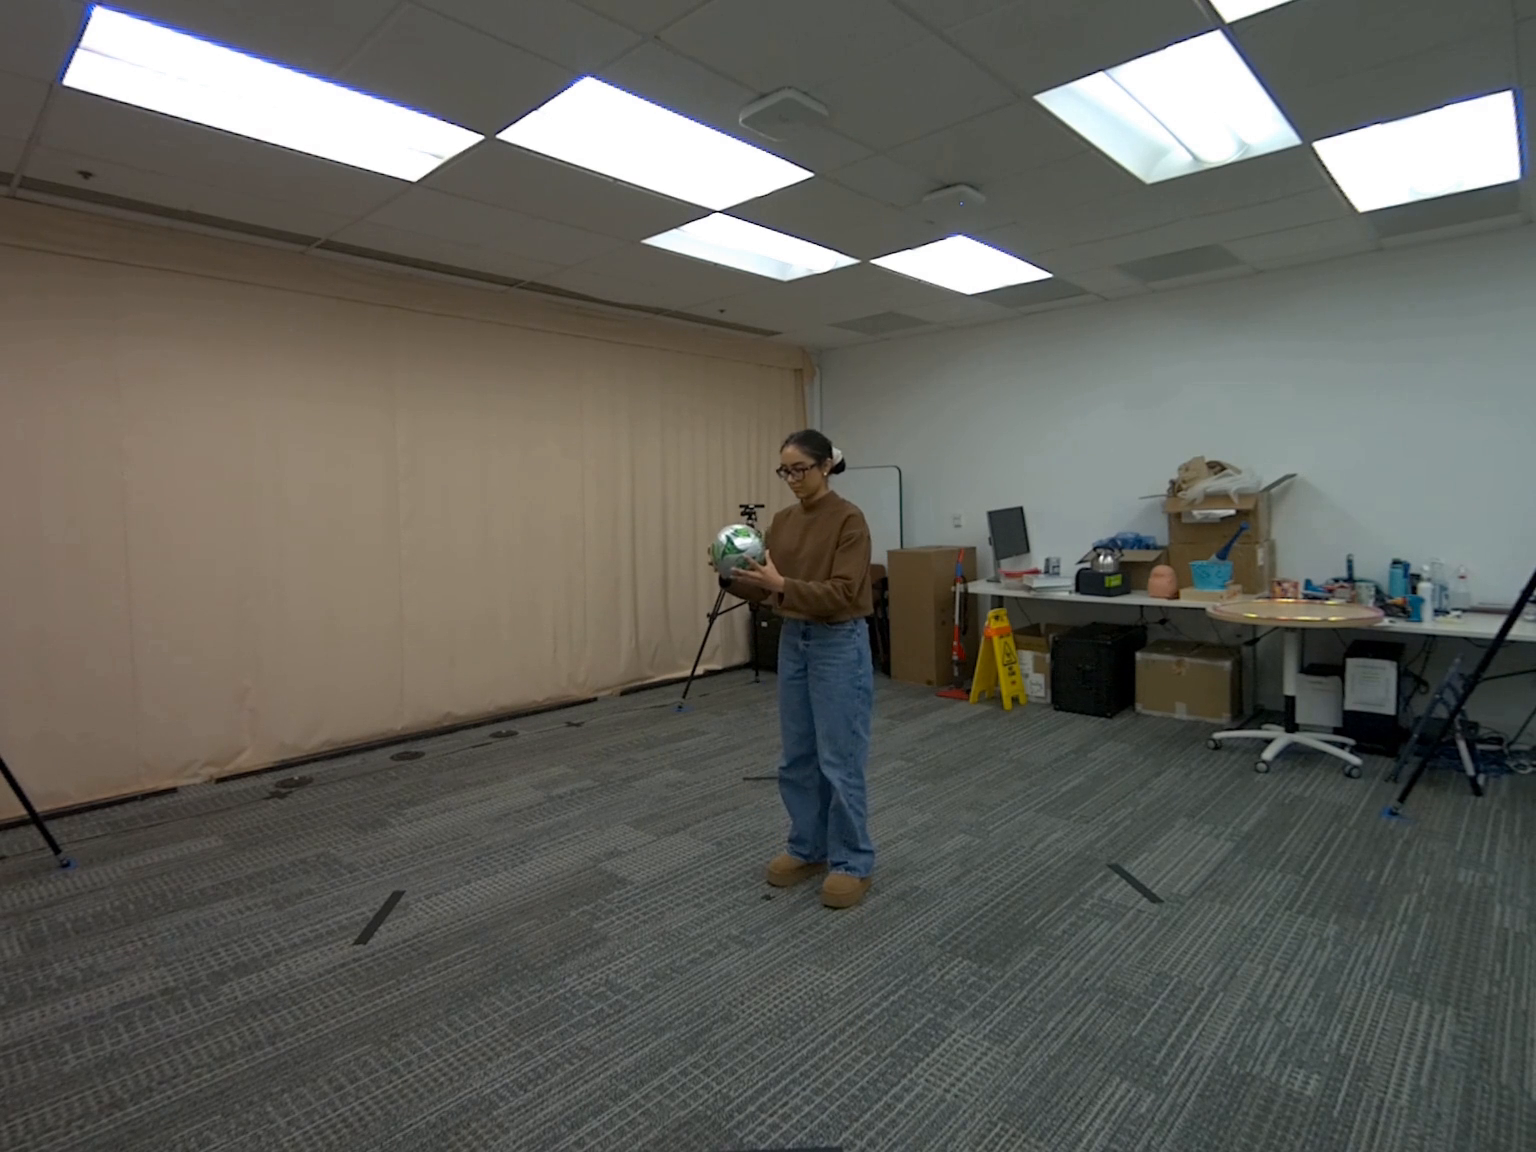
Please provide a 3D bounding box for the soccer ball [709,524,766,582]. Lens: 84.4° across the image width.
[{"bbox_3d":[-0.090,-0.080,2.815,0.187,0.187,0.188,-1,4,-2],"label":"soccer ball"}]
